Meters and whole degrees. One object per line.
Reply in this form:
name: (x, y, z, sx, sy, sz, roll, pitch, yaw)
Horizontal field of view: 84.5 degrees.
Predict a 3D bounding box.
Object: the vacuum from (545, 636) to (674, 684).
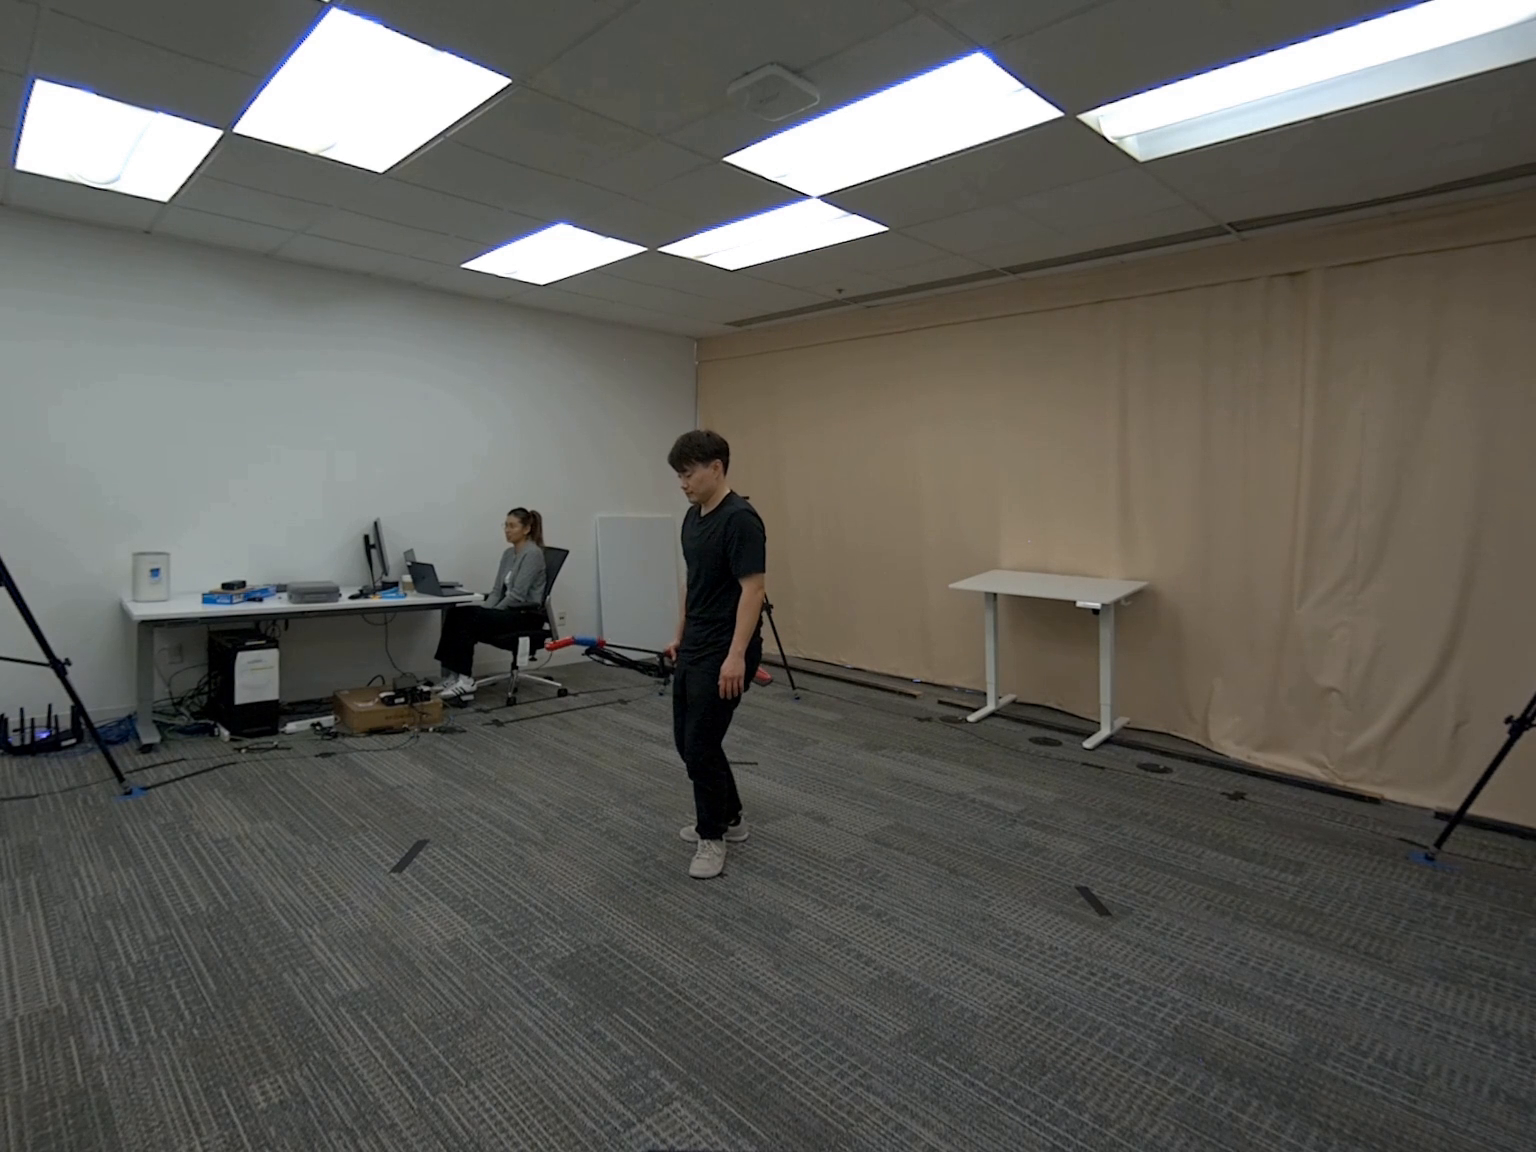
vacuum: (-0.460, 0.353, 3.424, 1.020, 0.143, 0.261, 13, 14, -43)
